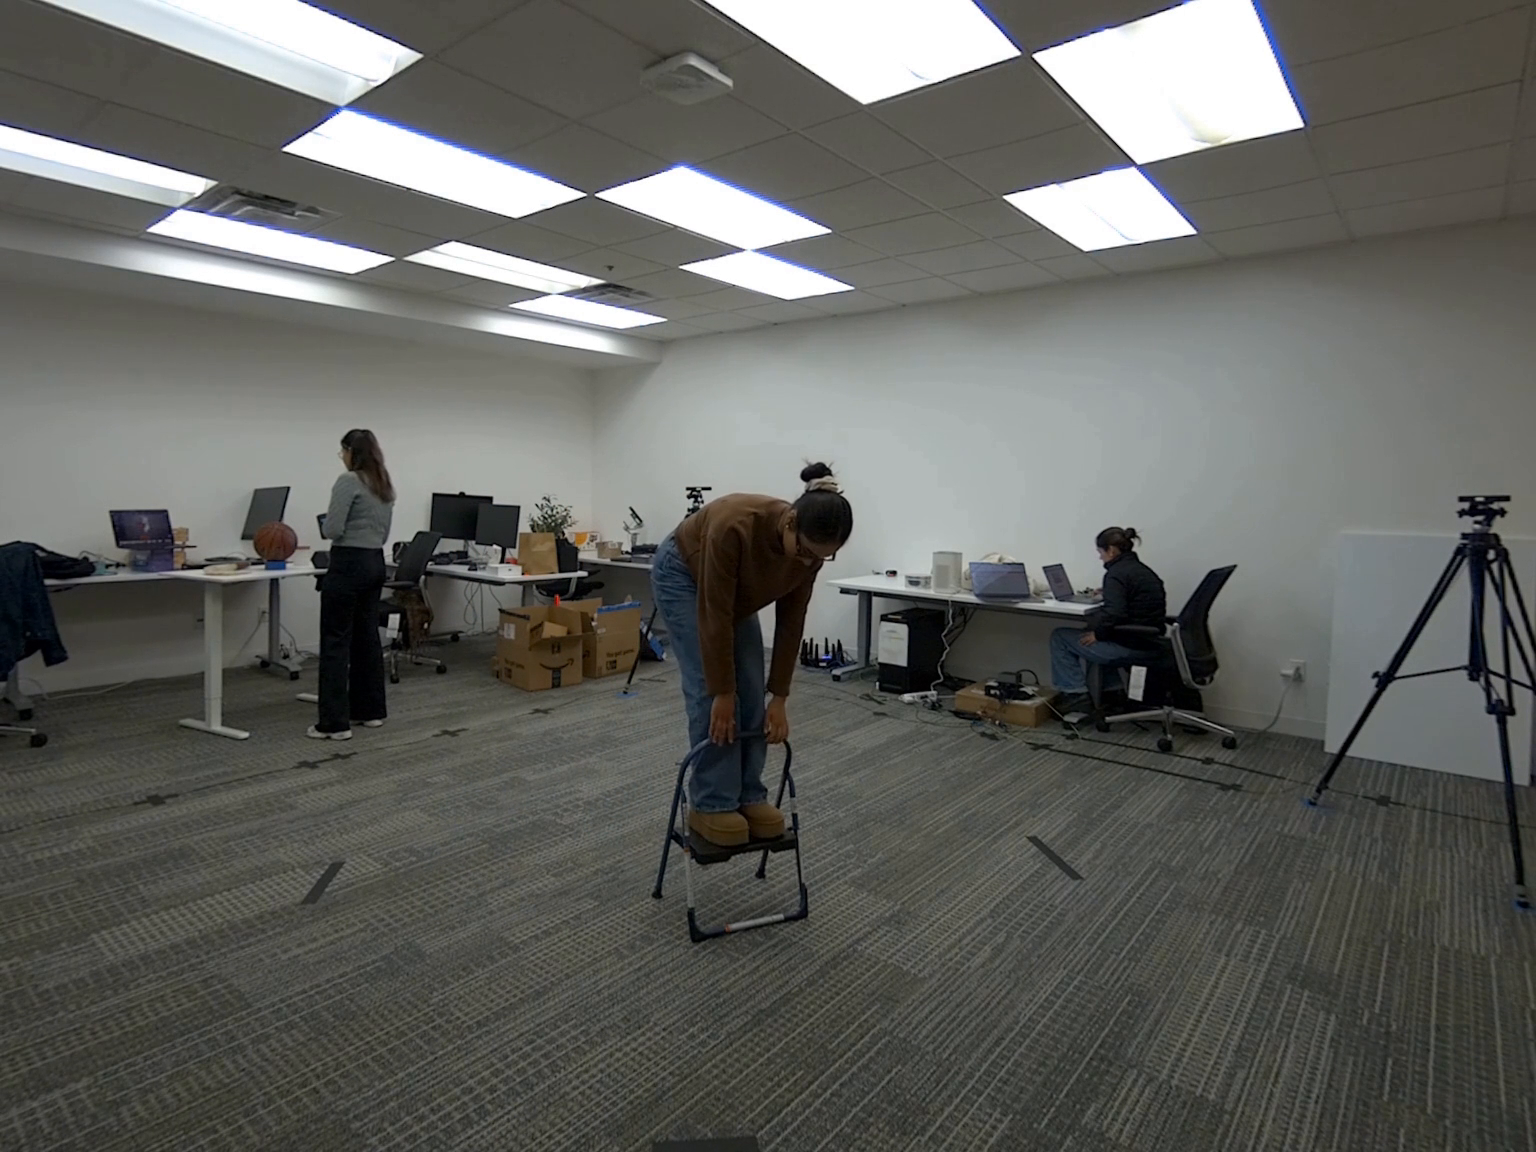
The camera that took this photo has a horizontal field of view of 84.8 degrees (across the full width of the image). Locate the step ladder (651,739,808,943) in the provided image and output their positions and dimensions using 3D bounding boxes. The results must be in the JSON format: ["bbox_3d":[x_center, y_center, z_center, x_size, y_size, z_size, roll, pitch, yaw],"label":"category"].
[{"bbox_3d":[-0.132,0.799,2.815,0.420,0.604,0.359,-1,3,-27],"label":"step ladder"}]
